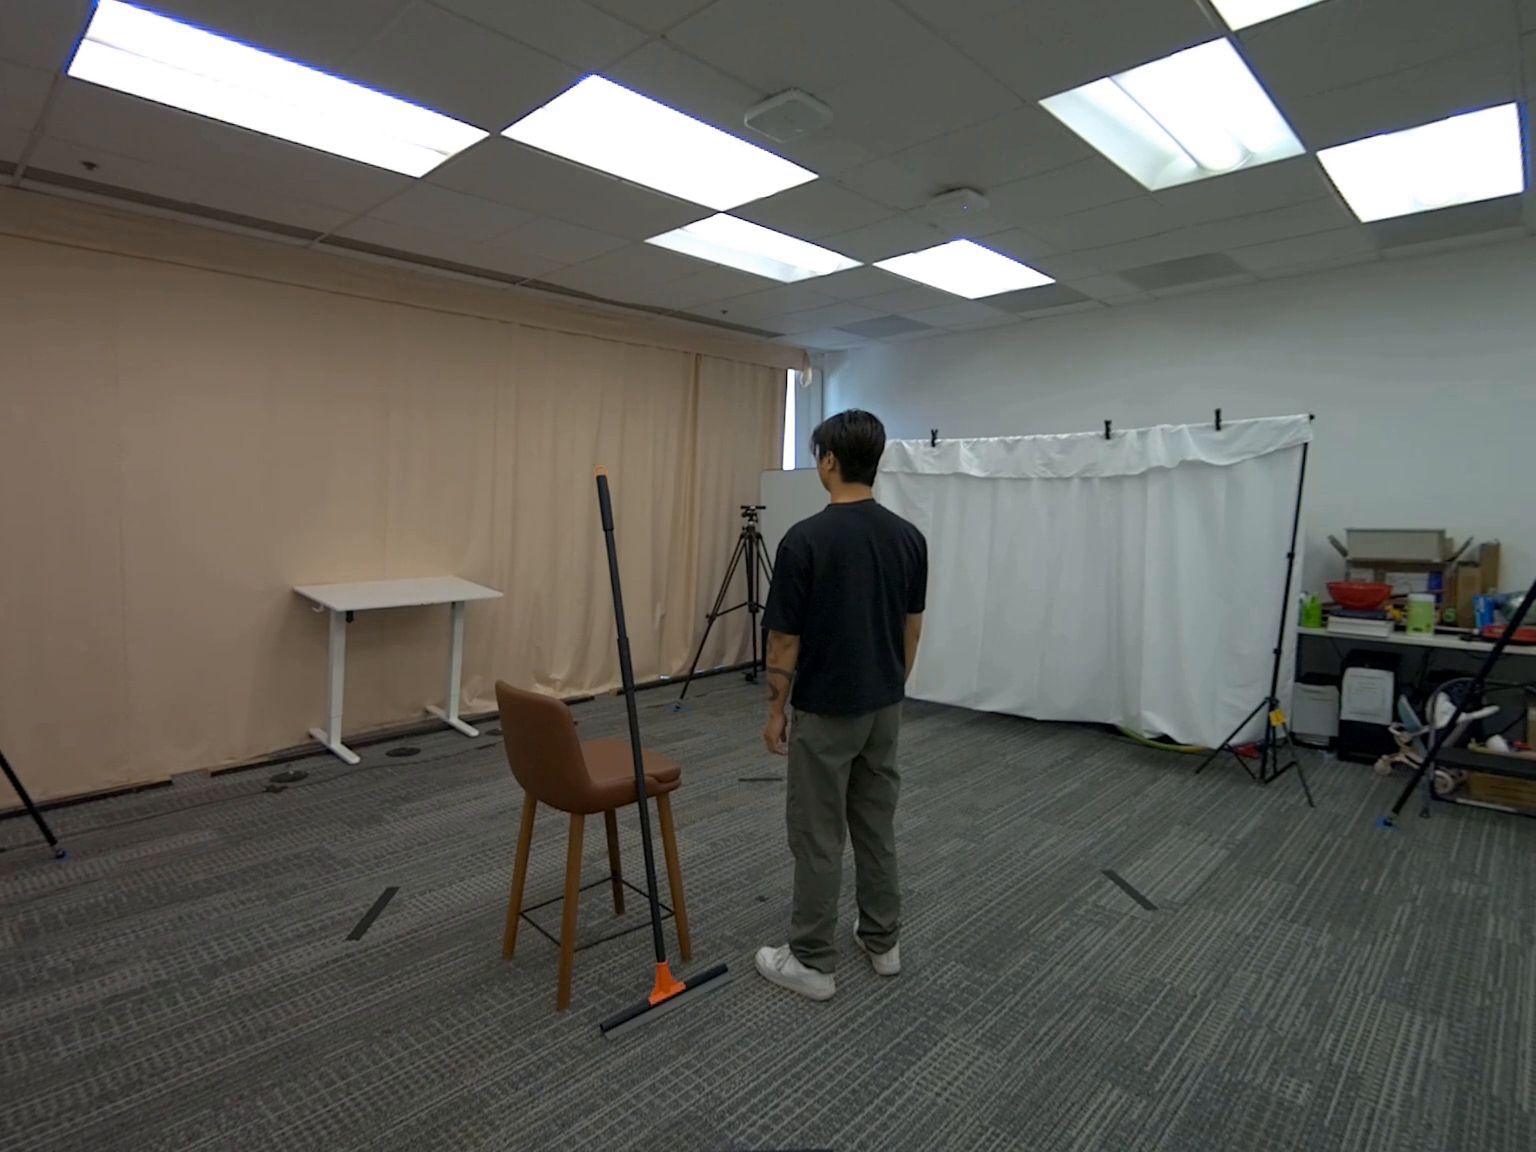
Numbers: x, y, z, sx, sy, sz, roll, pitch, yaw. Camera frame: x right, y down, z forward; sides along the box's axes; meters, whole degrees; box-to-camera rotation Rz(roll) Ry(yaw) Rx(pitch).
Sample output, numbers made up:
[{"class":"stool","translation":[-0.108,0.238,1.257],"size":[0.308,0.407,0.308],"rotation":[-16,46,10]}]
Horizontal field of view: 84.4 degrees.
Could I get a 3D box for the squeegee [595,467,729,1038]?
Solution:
[{"class":"squeegee","translation":[-0.381,0.432,2.422],"size":[0.427,1.540,0.054],"rotation":[-6,-3,-28]}]
